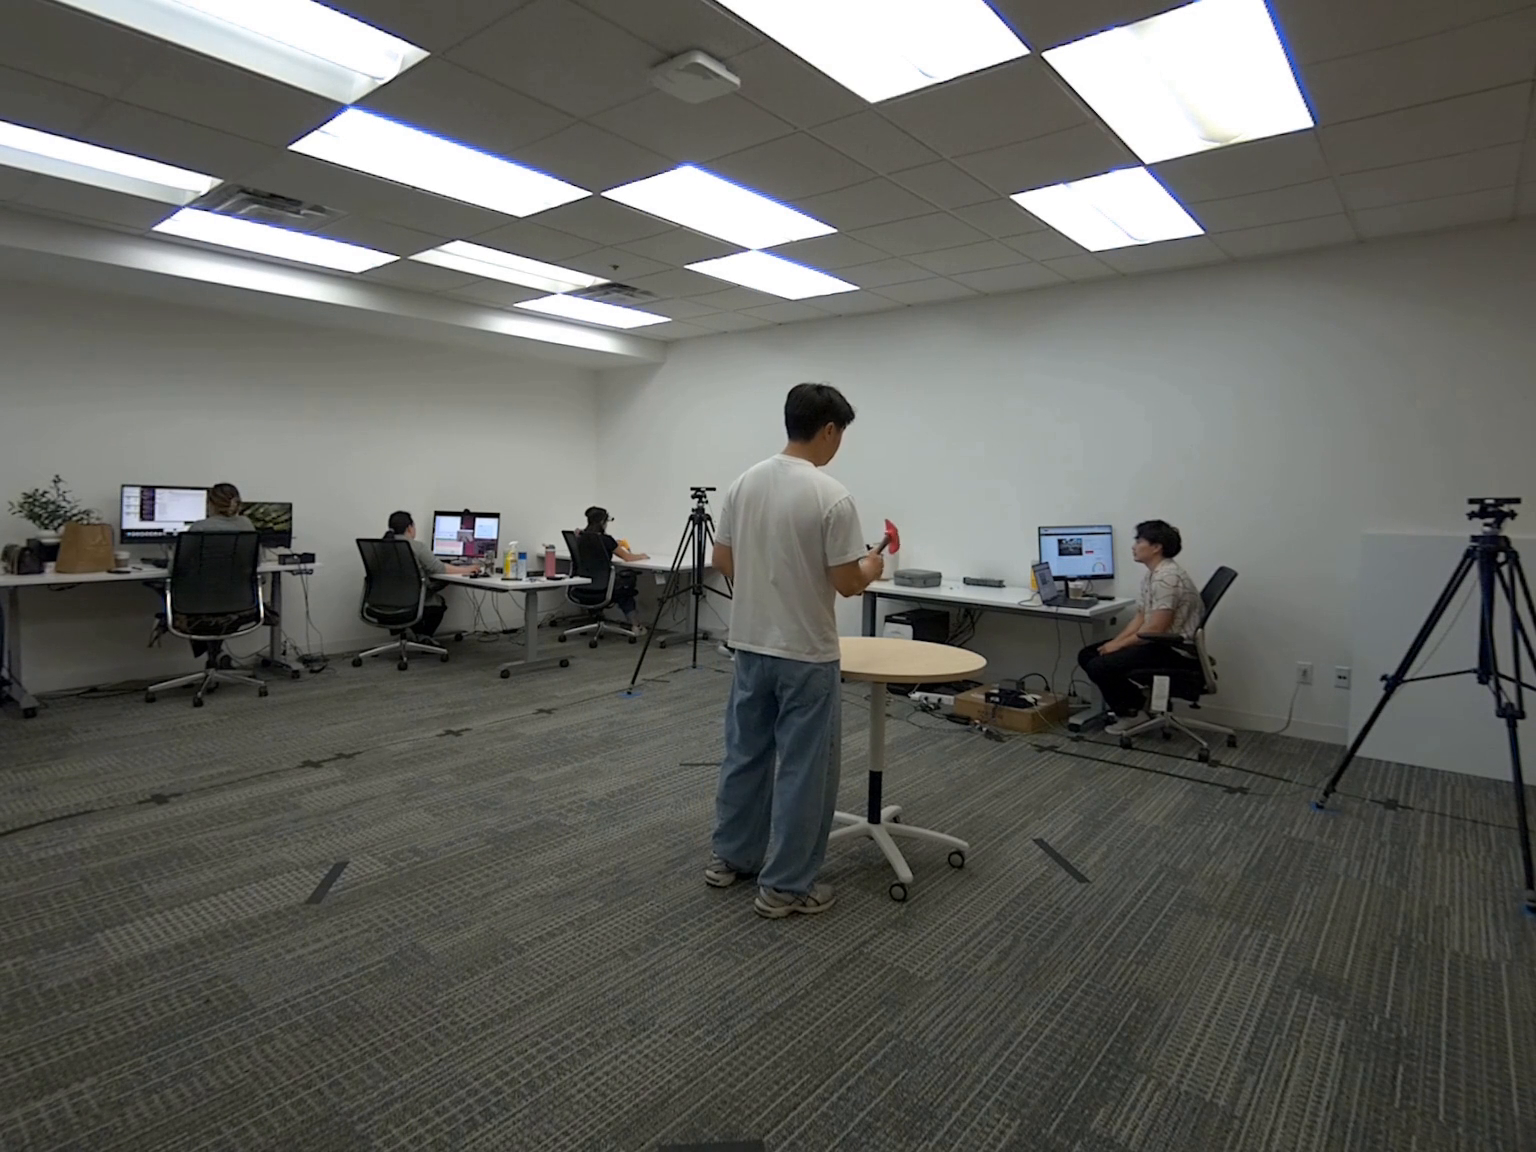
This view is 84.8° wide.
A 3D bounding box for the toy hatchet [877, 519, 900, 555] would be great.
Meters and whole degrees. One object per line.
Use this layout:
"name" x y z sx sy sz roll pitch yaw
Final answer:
"toy hatchet" 0.389 -0.065 3.023 0.030 0.272 0.126 0 -36 42
